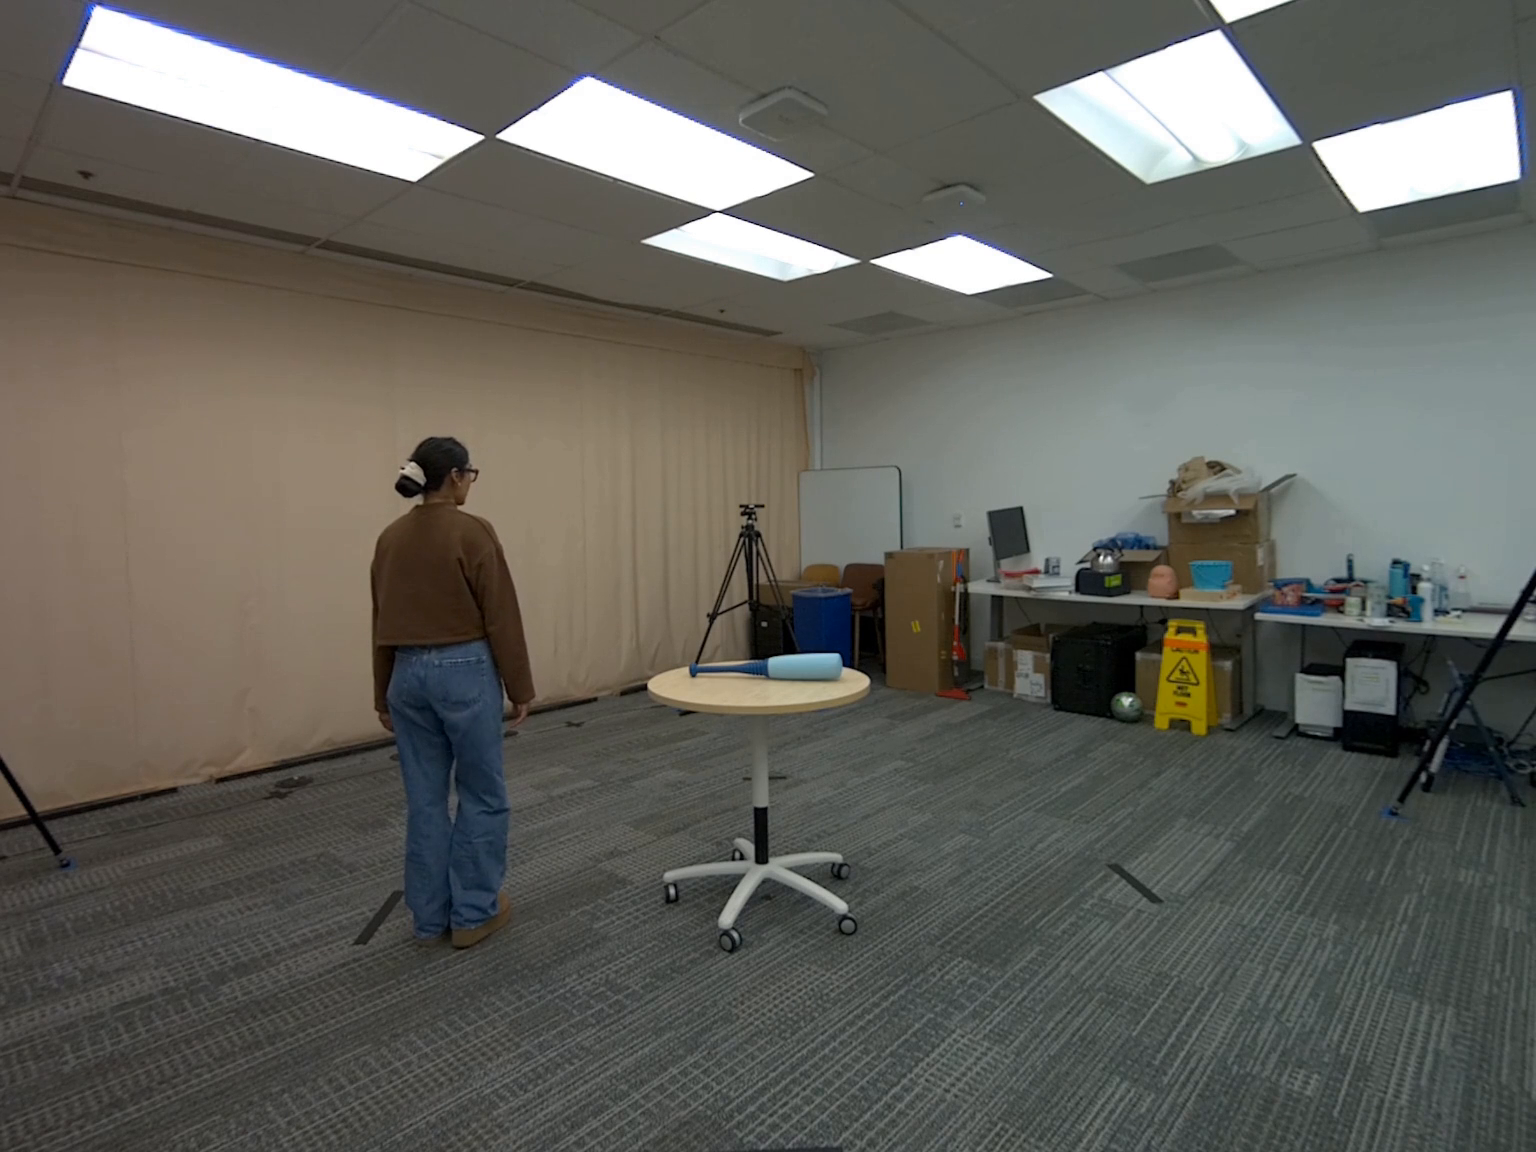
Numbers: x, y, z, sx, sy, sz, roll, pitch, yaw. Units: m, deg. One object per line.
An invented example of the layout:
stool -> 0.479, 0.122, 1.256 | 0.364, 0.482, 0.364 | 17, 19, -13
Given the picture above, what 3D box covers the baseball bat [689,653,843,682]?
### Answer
baseball bat -> -0.017, 0.324, 2.941 | 0.551, 0.089, 0.088 | -4, 3, 14
